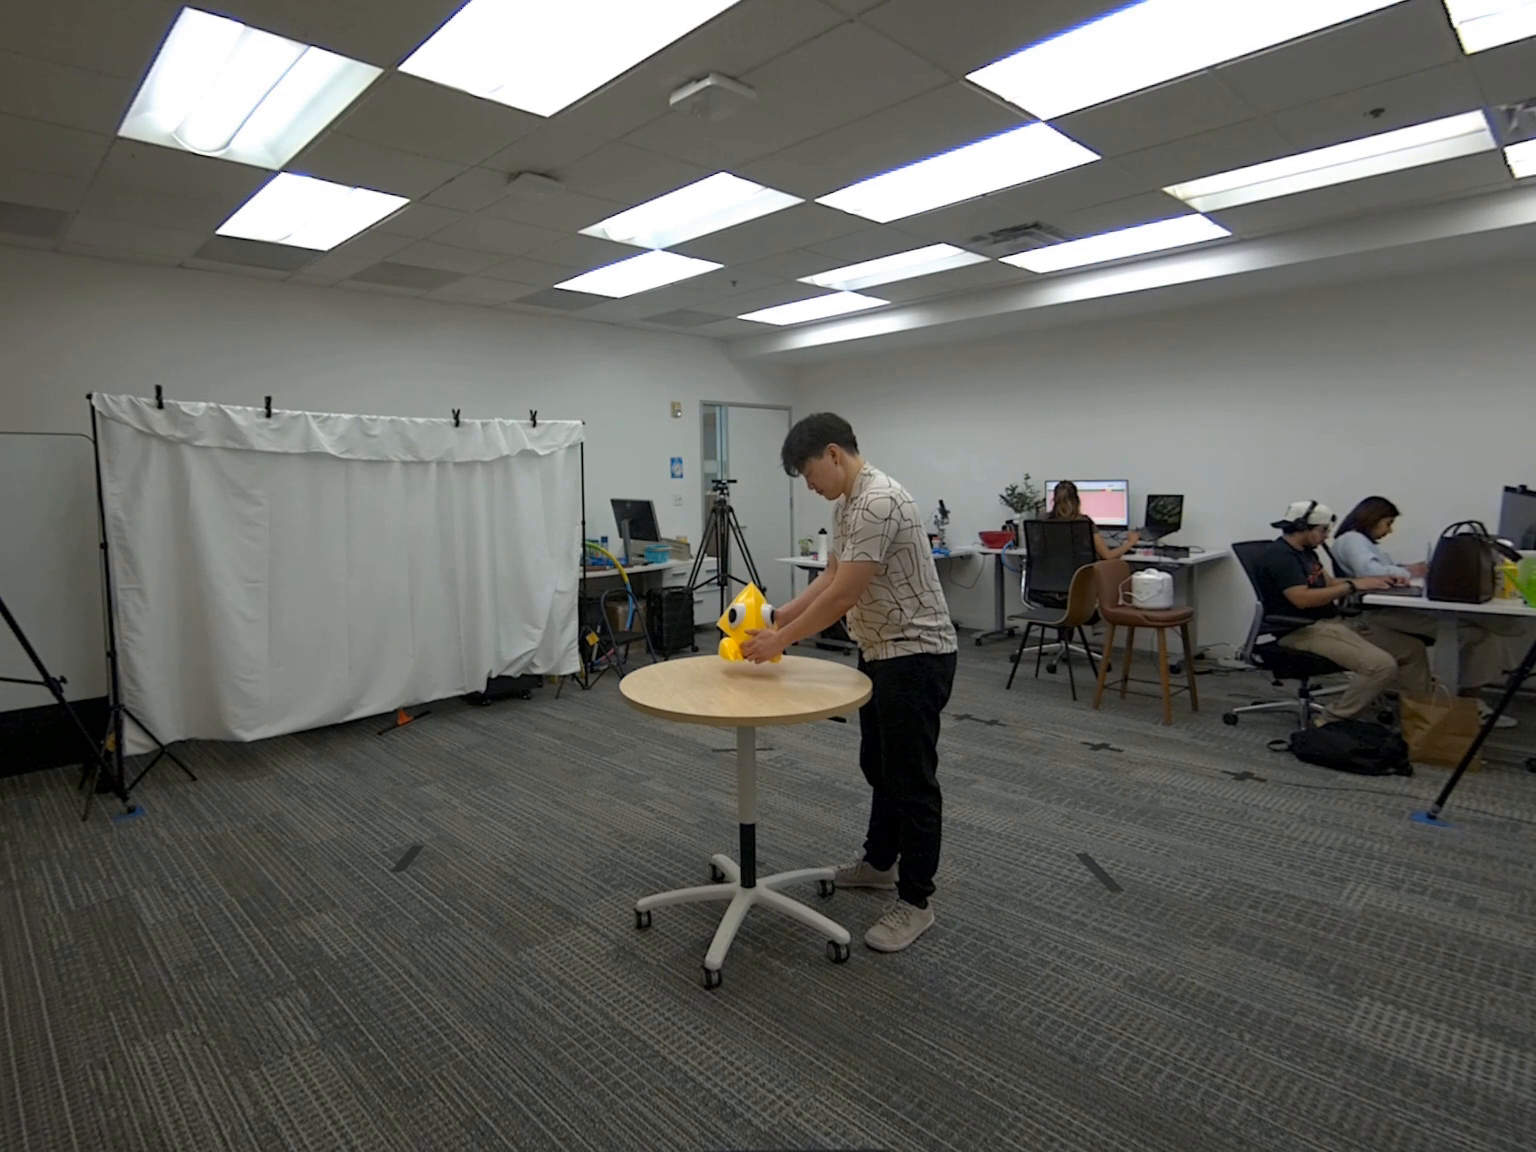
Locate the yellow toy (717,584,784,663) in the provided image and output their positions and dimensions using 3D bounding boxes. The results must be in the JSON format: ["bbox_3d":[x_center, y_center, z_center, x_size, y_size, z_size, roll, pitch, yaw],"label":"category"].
[{"bbox_3d":[-0.046,0.136,2.718,0.203,0.230,0.195,3,4,-7],"label":"yellow toy"}]
